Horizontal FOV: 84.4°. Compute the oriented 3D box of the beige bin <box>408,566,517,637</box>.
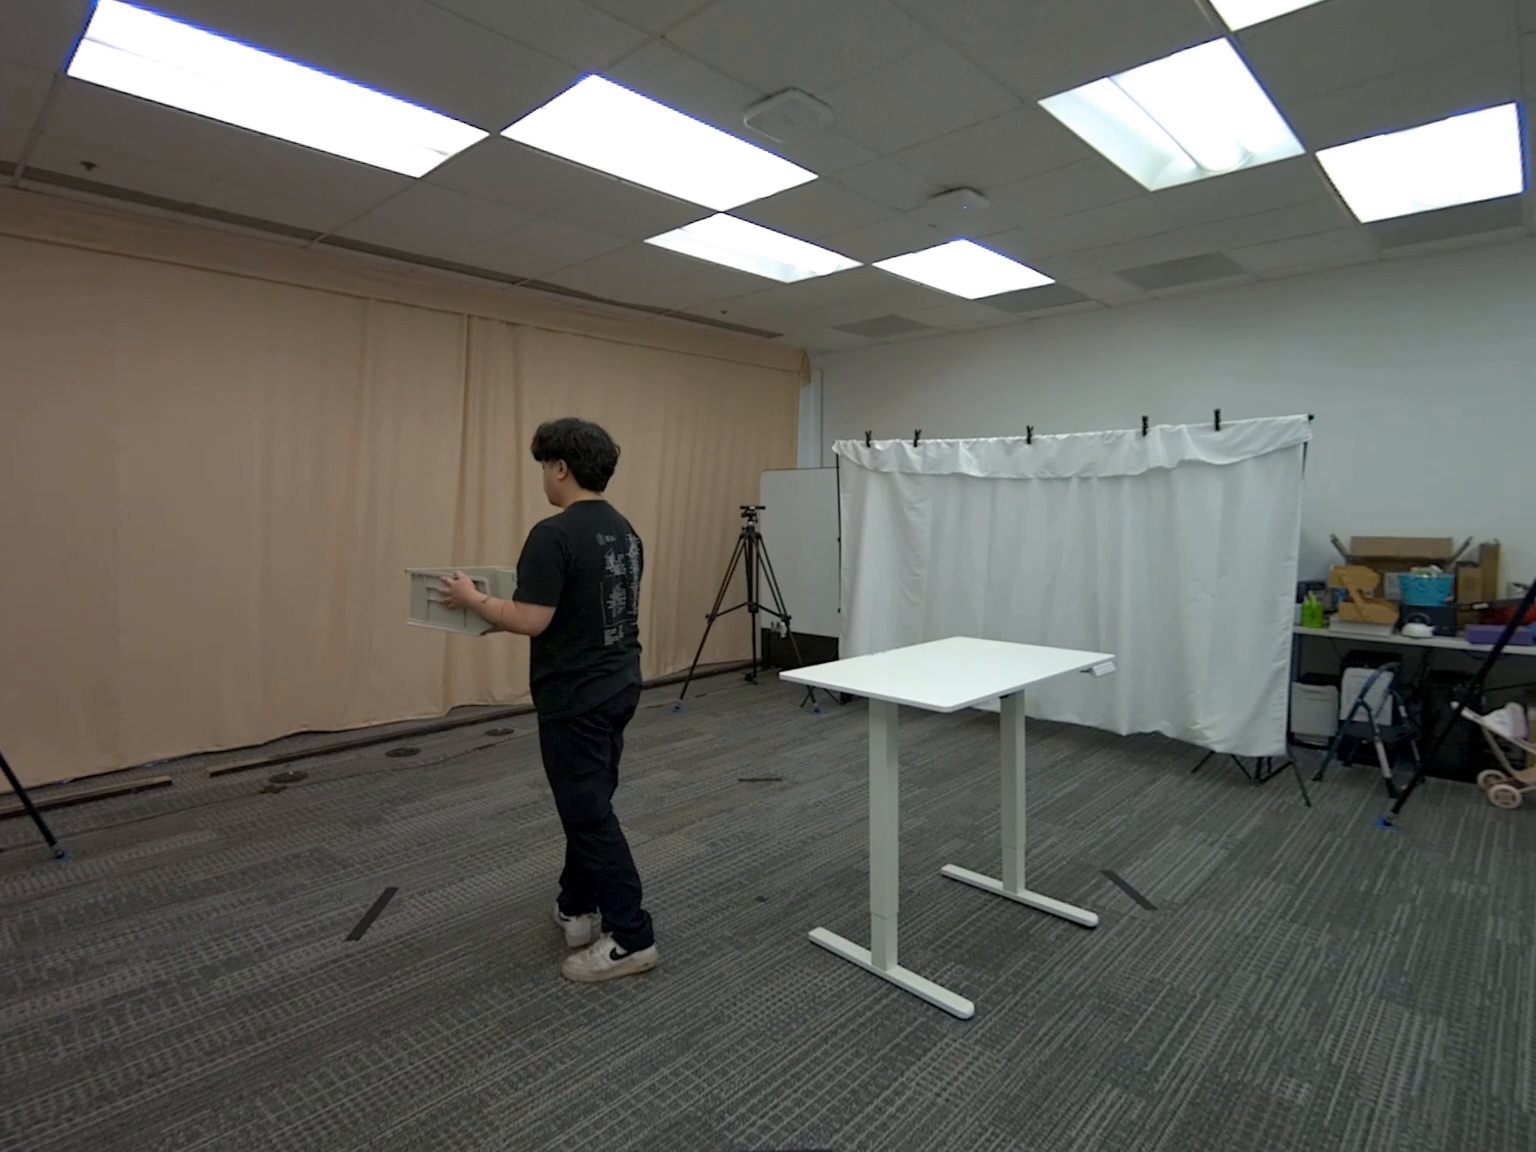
[{"bbox_3d":[-0.910,0.084,2.789,0.388,0.189,0.411,6,4,26],"label":"beige bin"}]
